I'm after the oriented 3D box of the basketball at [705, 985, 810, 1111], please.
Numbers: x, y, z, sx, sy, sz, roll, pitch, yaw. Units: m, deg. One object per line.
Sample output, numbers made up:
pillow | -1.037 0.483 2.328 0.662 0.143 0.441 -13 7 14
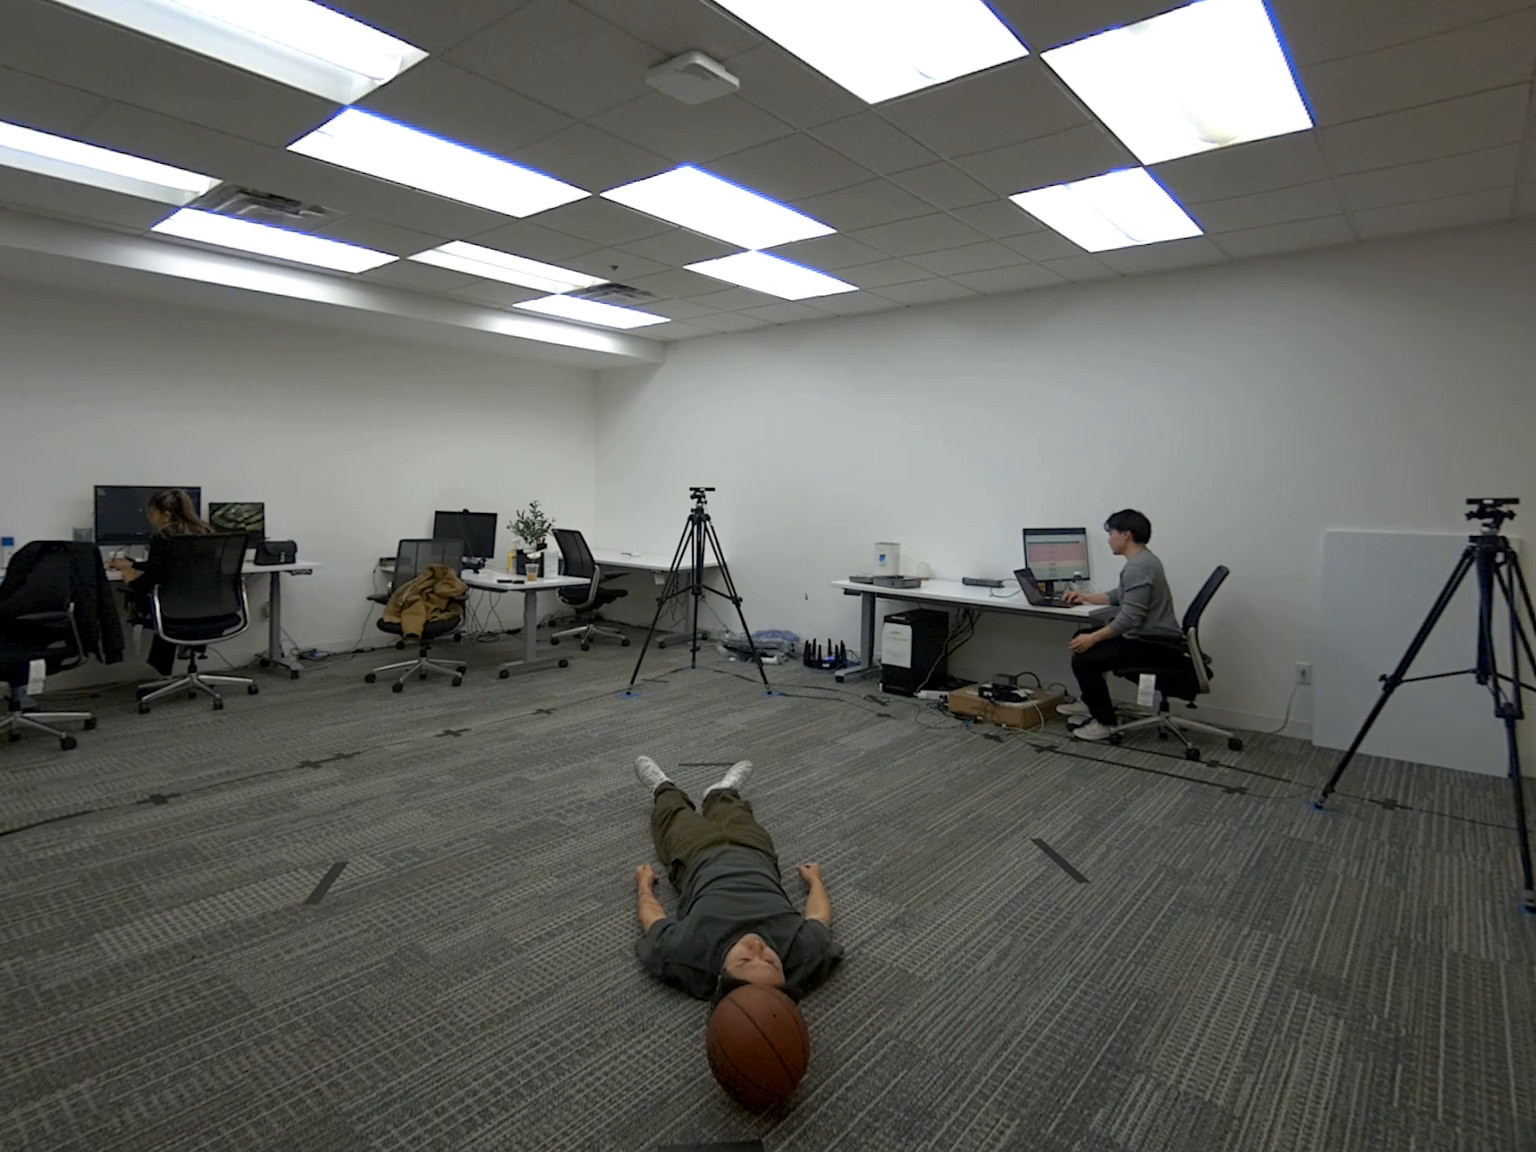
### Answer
basketball | -0.026 1.067 1.954 0.235 0.235 0.237 1 4 -2
